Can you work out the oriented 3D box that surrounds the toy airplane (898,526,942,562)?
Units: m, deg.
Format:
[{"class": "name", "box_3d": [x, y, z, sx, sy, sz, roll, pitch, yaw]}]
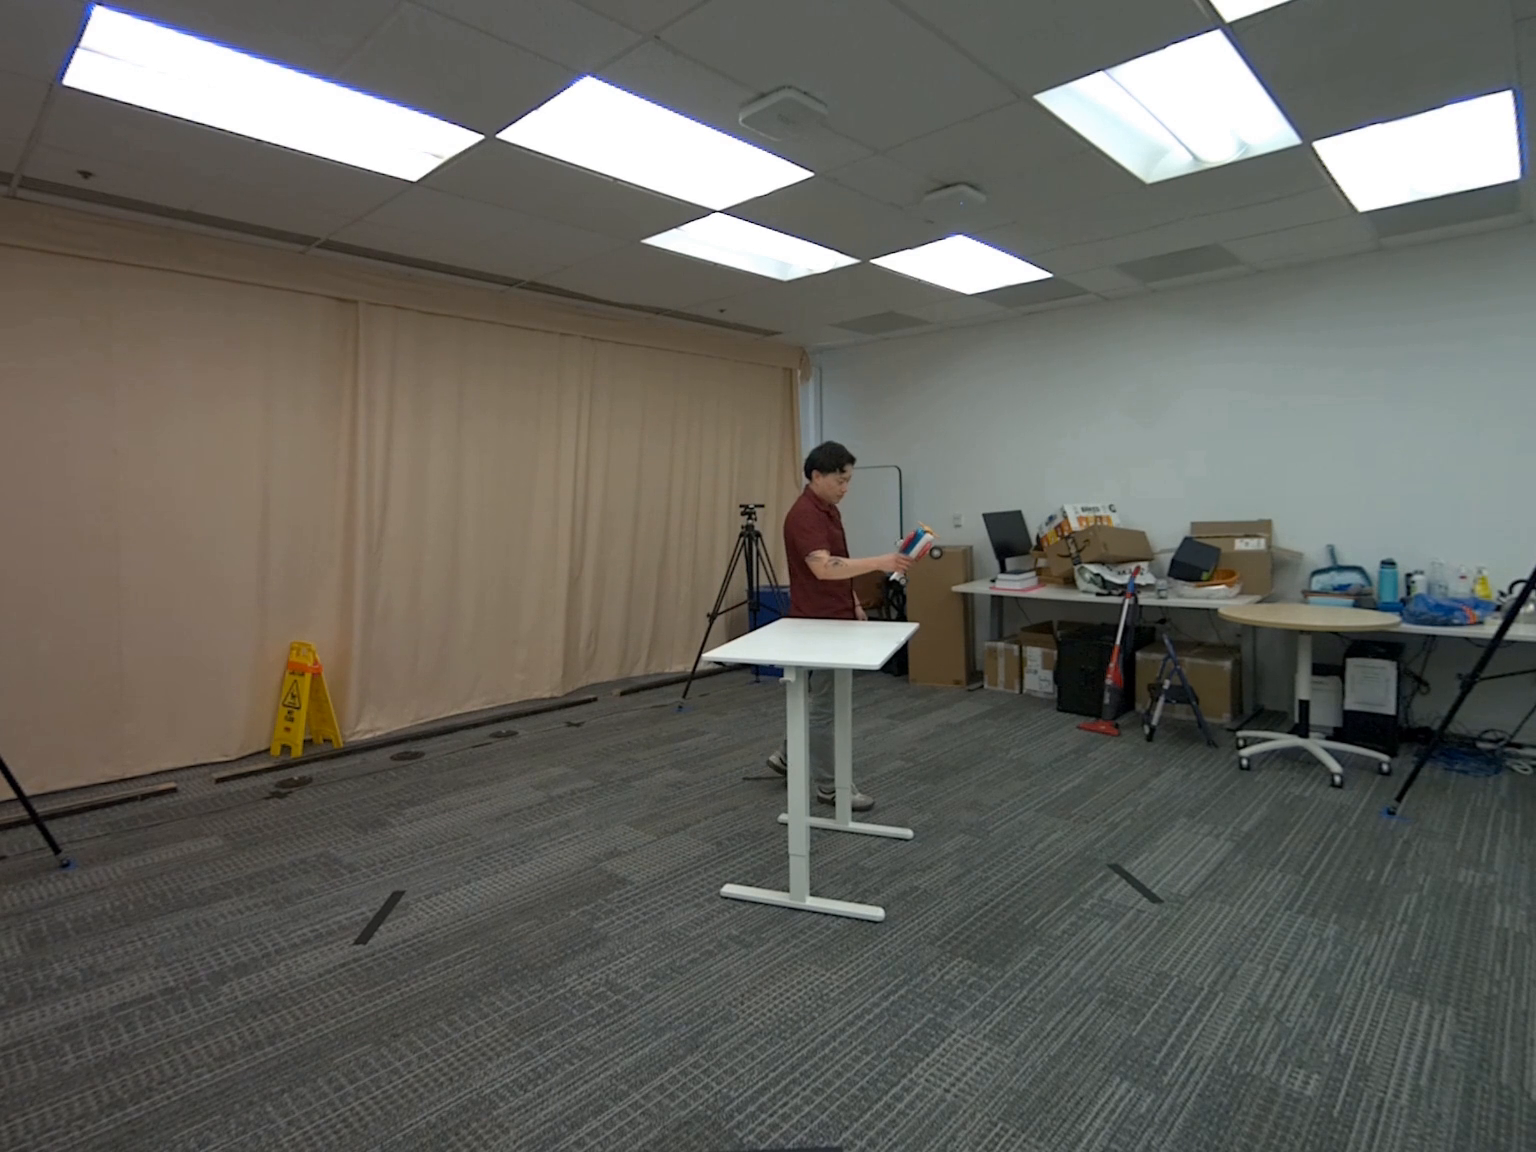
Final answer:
[{"class": "toy airplane", "box_3d": [0.594, -0.087, 3.455, 0.257, 0.157, 0.251, -37, -4, -15]}]
